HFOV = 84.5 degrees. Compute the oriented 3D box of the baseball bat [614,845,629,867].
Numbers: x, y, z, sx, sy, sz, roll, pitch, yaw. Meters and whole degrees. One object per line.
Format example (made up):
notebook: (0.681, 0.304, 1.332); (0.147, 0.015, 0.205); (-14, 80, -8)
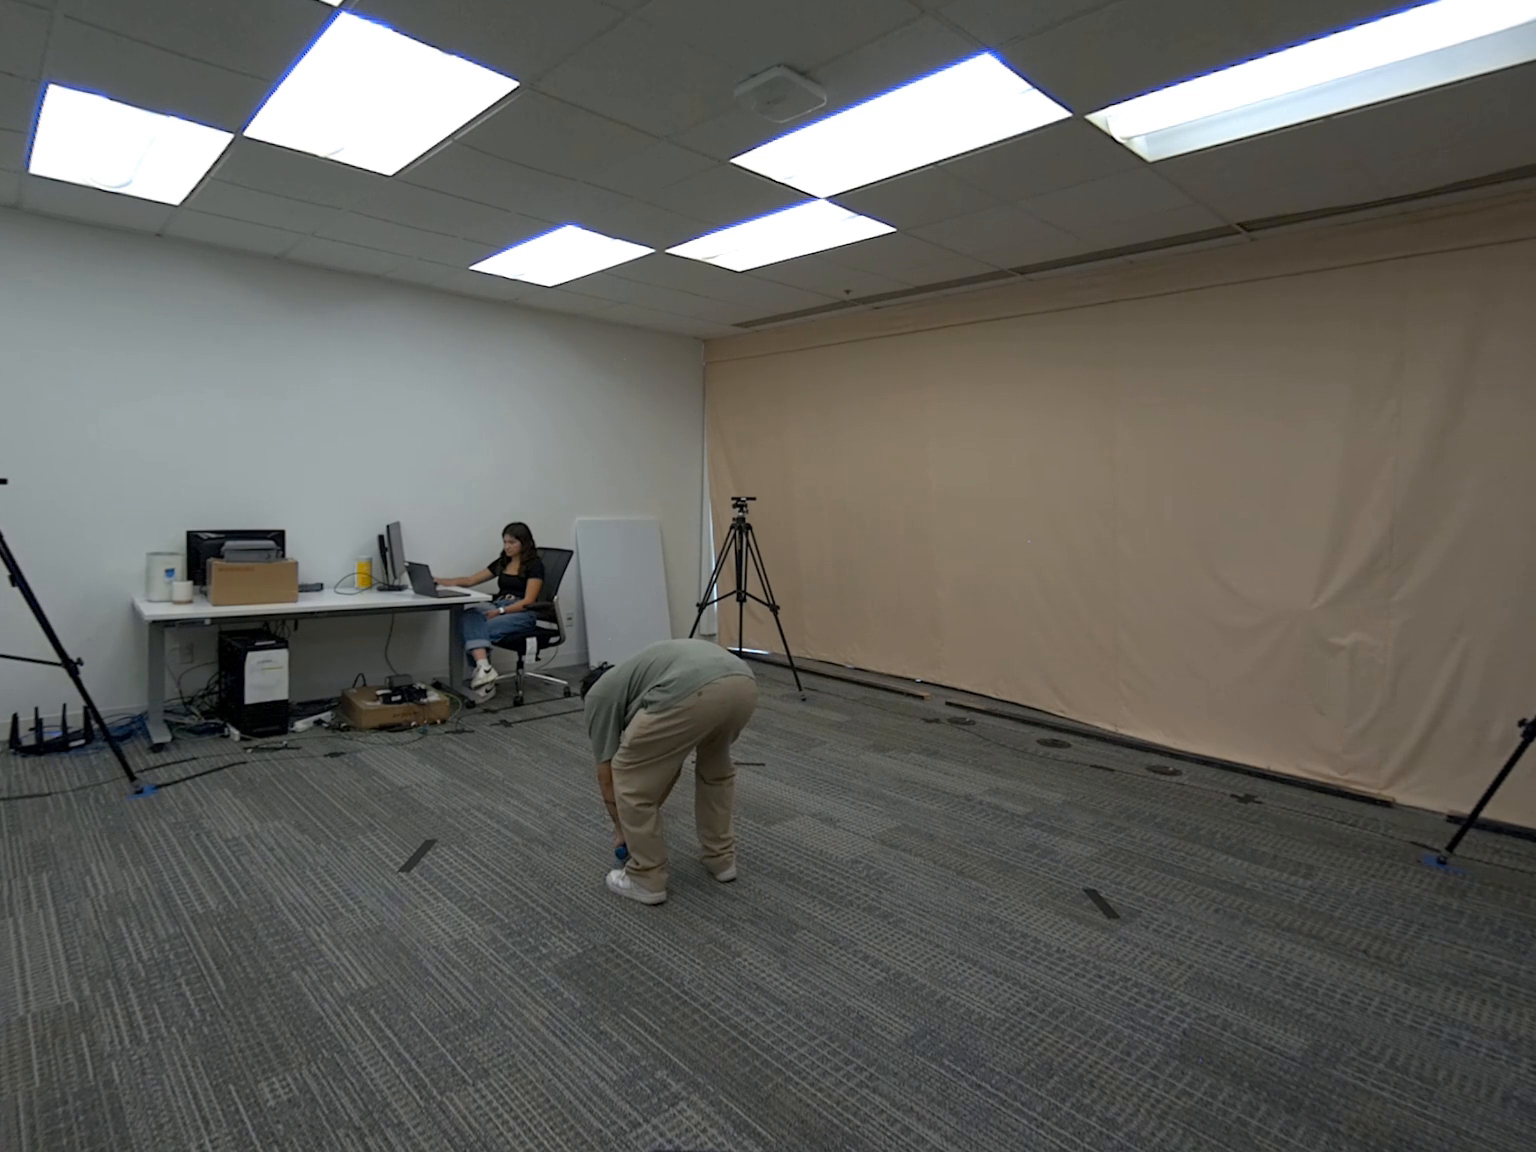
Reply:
baseball bat: (-0.541, 1.026, 3.408); (0.089, 0.089, 0.542); (2, 5, 5)
